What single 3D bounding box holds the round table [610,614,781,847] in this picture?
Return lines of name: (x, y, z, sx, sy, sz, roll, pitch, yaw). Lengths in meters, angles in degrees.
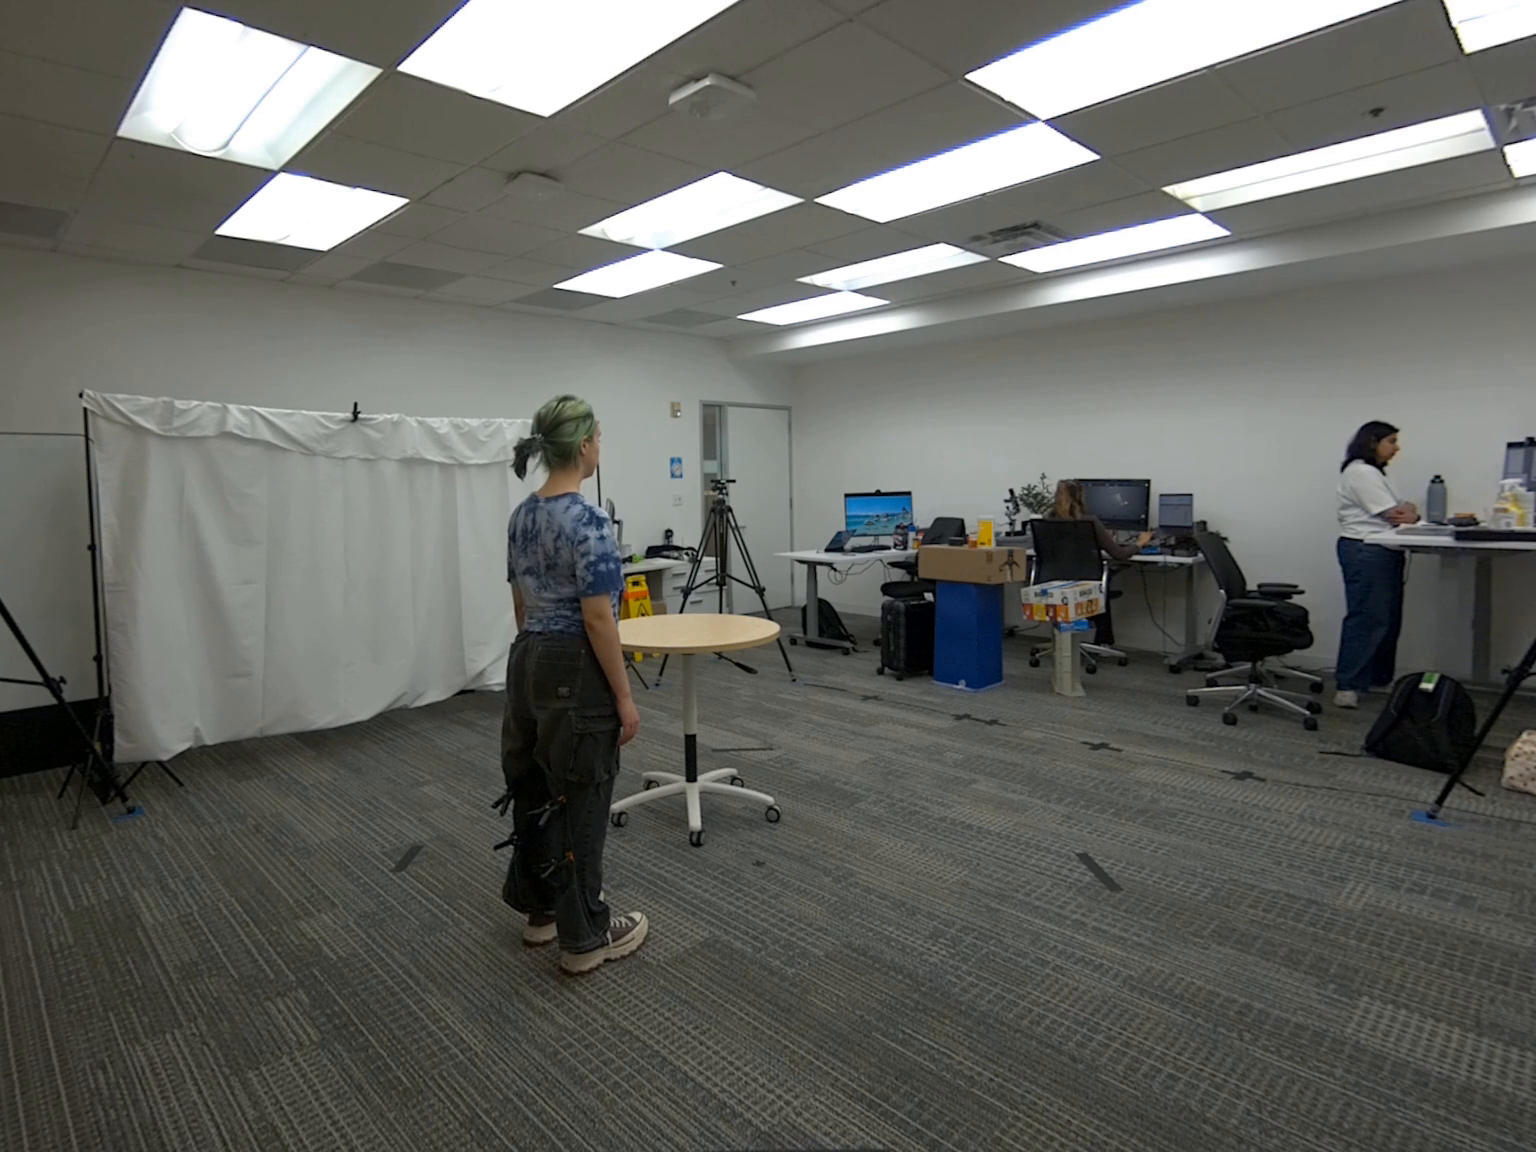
round table: (-0.321, 0.613, 3.565, 0.763, 0.791, 0.768, -1, 5, -2)
